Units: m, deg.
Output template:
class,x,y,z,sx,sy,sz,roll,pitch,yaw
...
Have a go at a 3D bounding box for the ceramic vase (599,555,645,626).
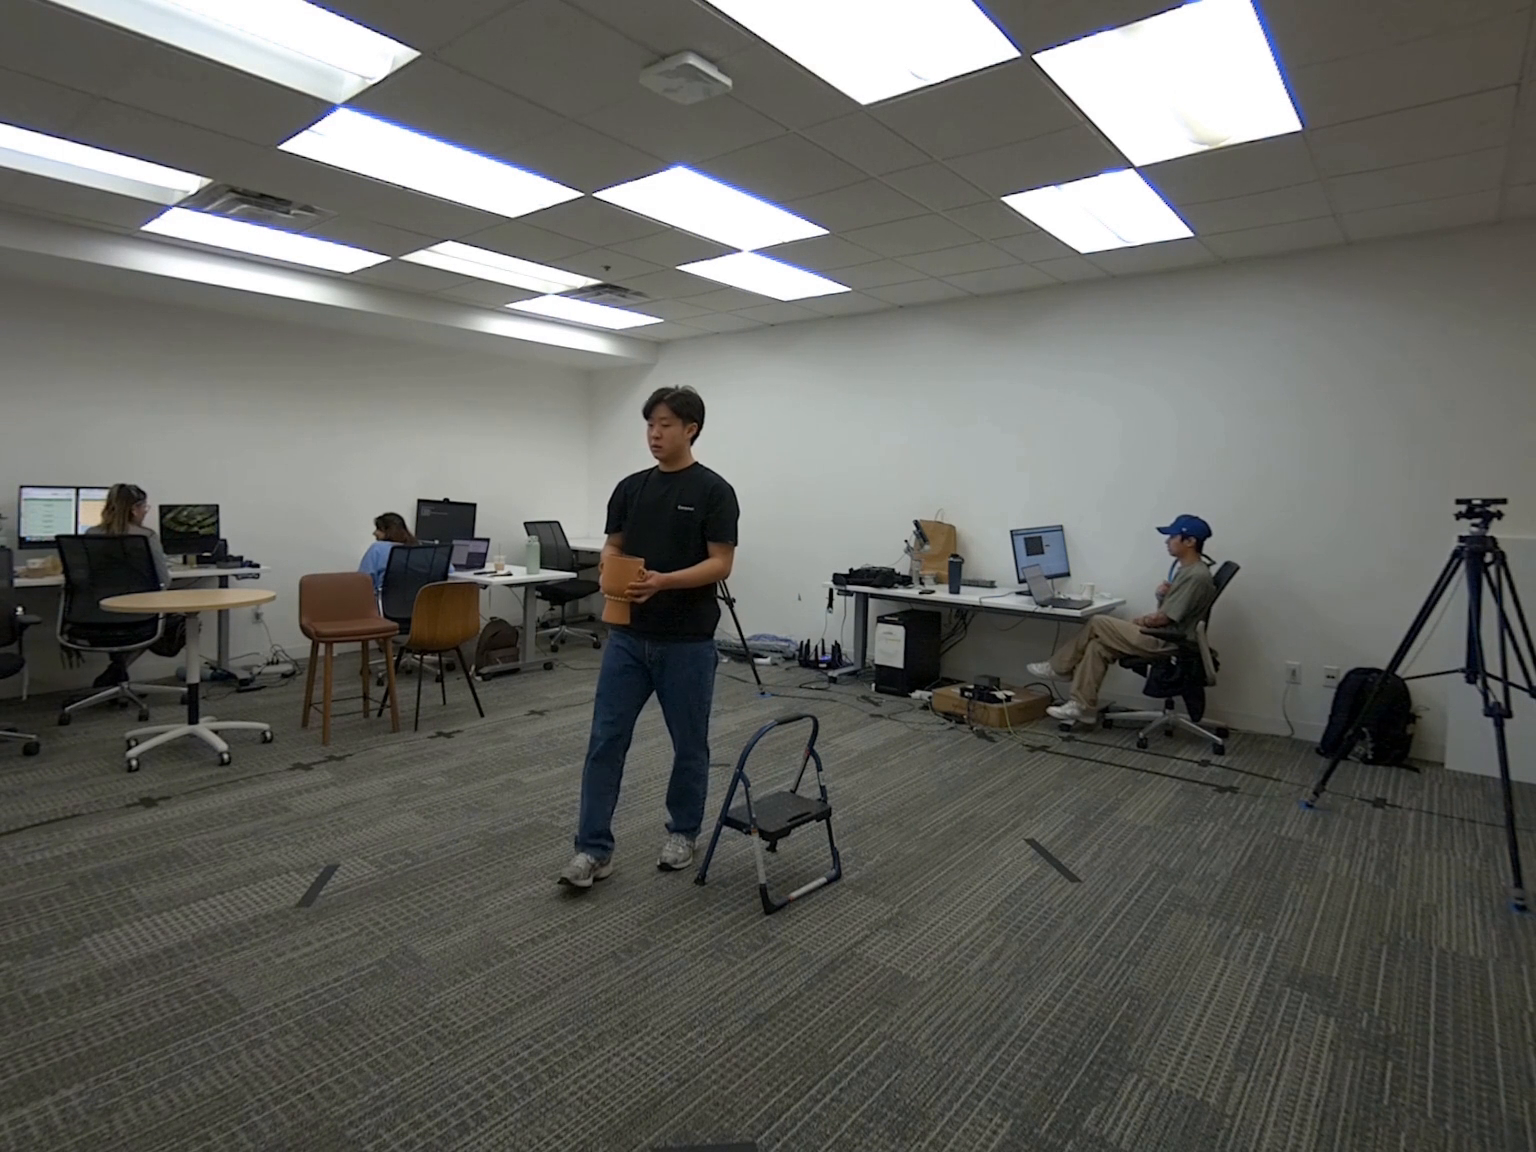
class,x,y,z,sx,sy,sz,roll,pitch,yaw
ceramic vase,-0.510,0.042,2.841,0.131,0.220,0.163,8,1,-24
